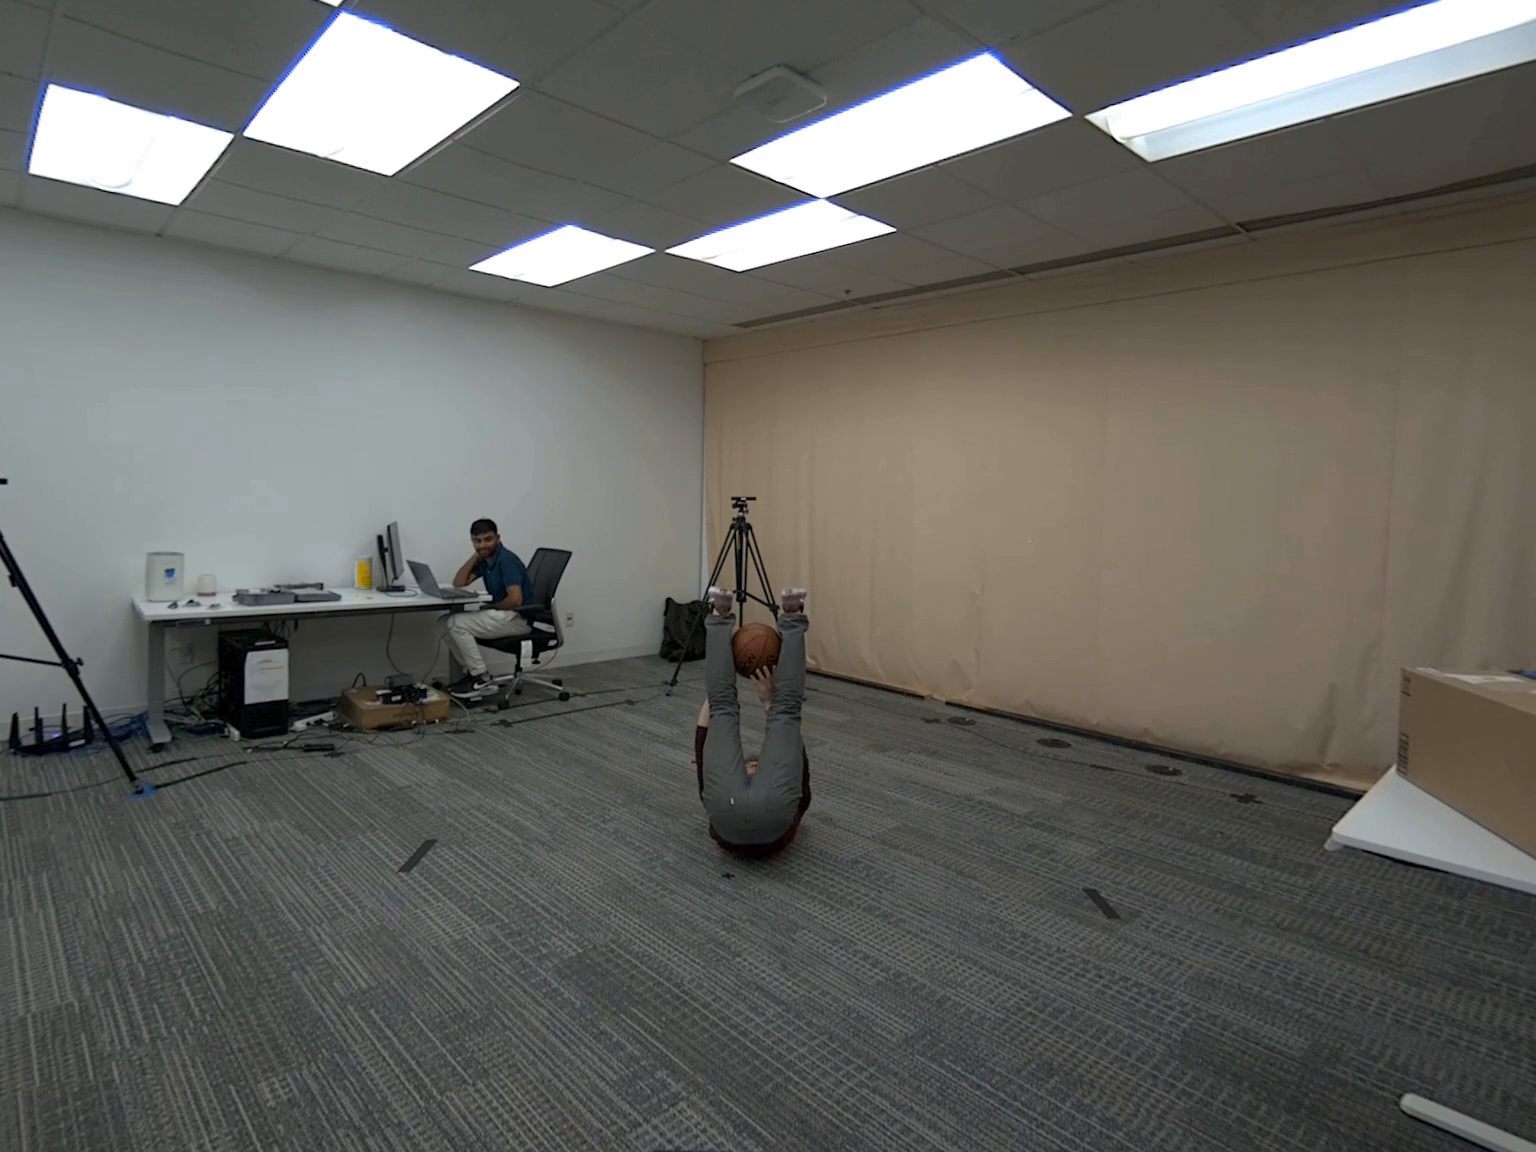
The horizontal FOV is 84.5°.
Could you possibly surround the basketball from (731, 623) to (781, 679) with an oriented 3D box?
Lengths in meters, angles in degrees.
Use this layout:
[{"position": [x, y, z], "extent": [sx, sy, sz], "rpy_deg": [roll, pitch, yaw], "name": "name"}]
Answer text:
[{"position": [-0.062, 0.312, 3.529], "extent": [0.236, 0.235, 0.237], "rpy_deg": [1, 4, -1], "name": "basketball"}]
